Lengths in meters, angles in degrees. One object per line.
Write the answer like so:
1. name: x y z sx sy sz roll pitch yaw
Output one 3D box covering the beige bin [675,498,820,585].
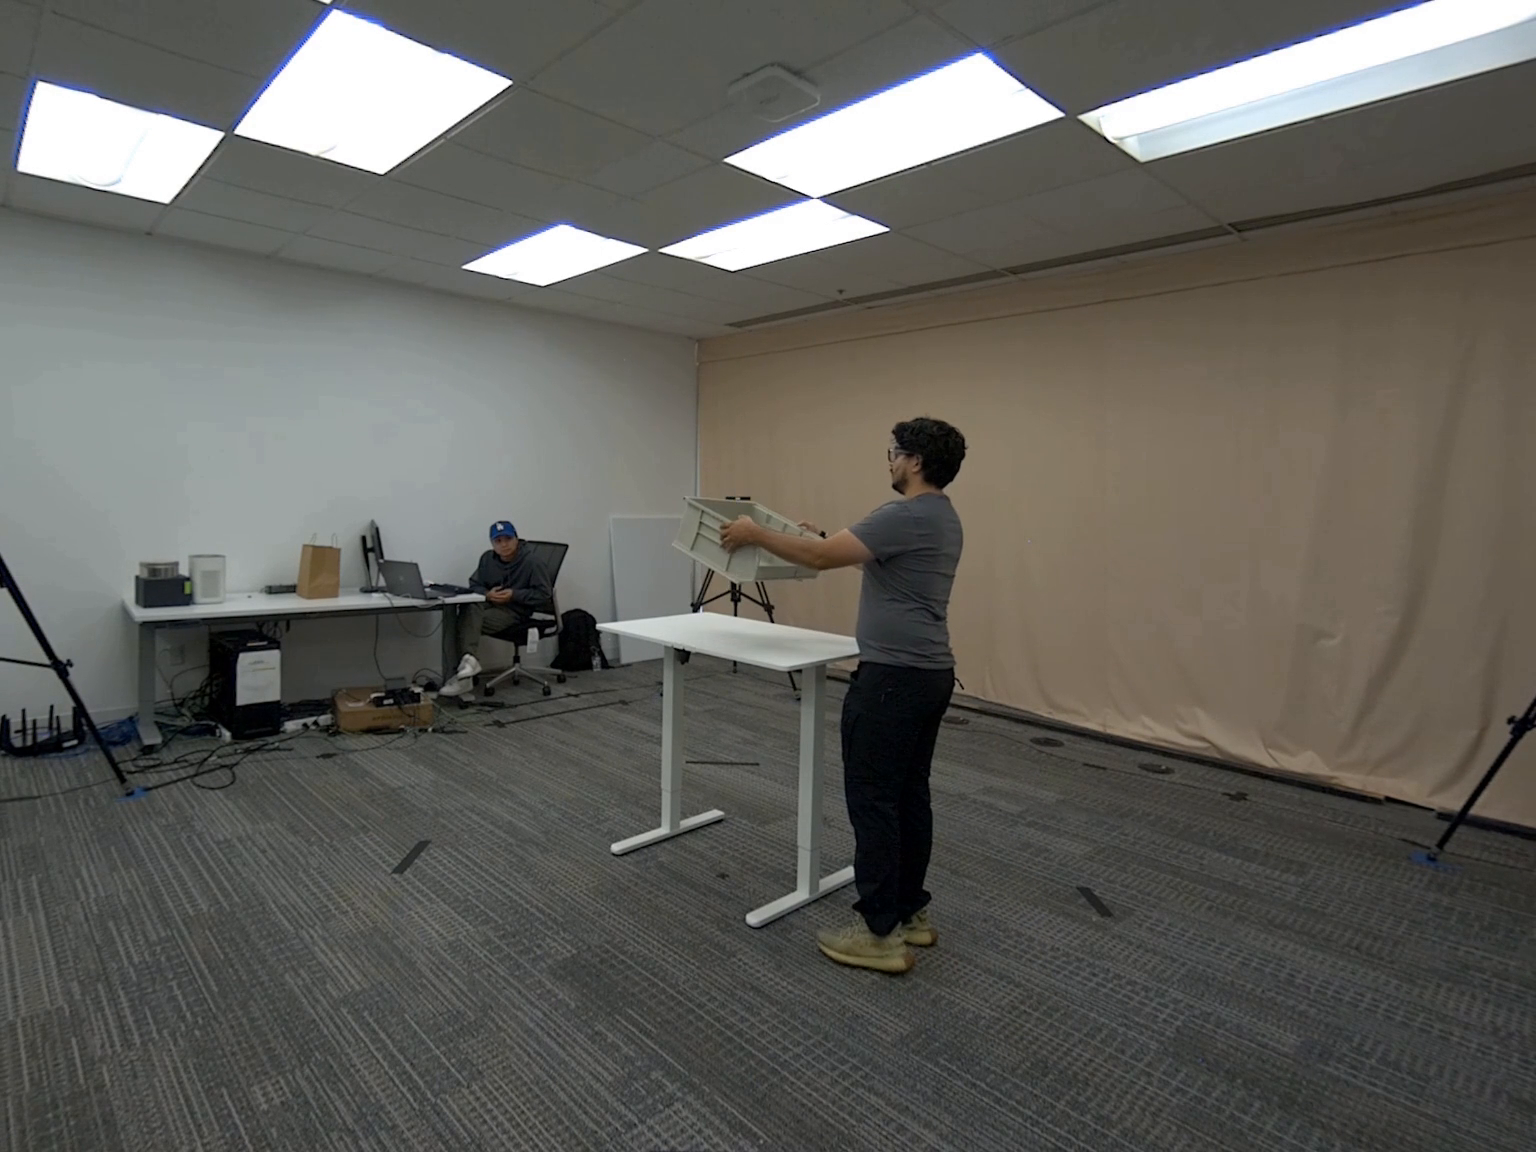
1. beige bin: -0.063 -0.102 2.963 0.388 0.188 0.413 27 17 31
